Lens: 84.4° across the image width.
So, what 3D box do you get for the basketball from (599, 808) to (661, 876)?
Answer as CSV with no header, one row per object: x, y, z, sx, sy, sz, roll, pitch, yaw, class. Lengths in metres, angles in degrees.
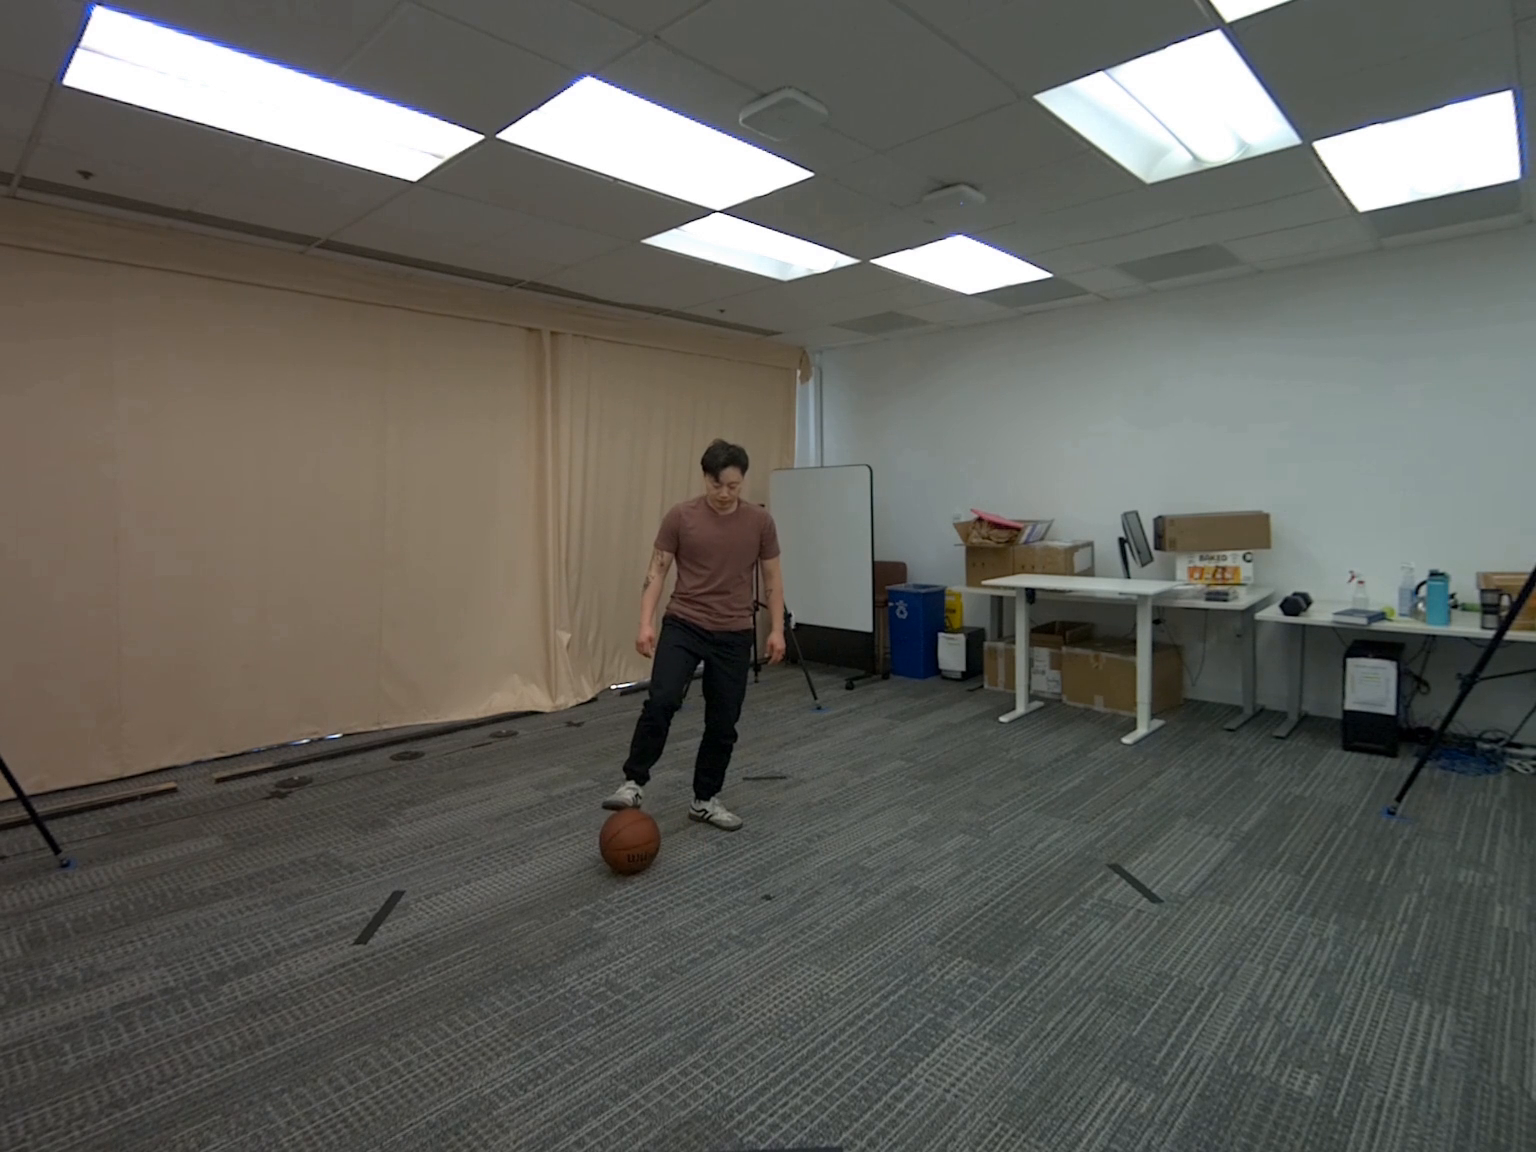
-0.523,1.014,3.230,0.236,0.235,0.237,-1,4,-2,basketball
